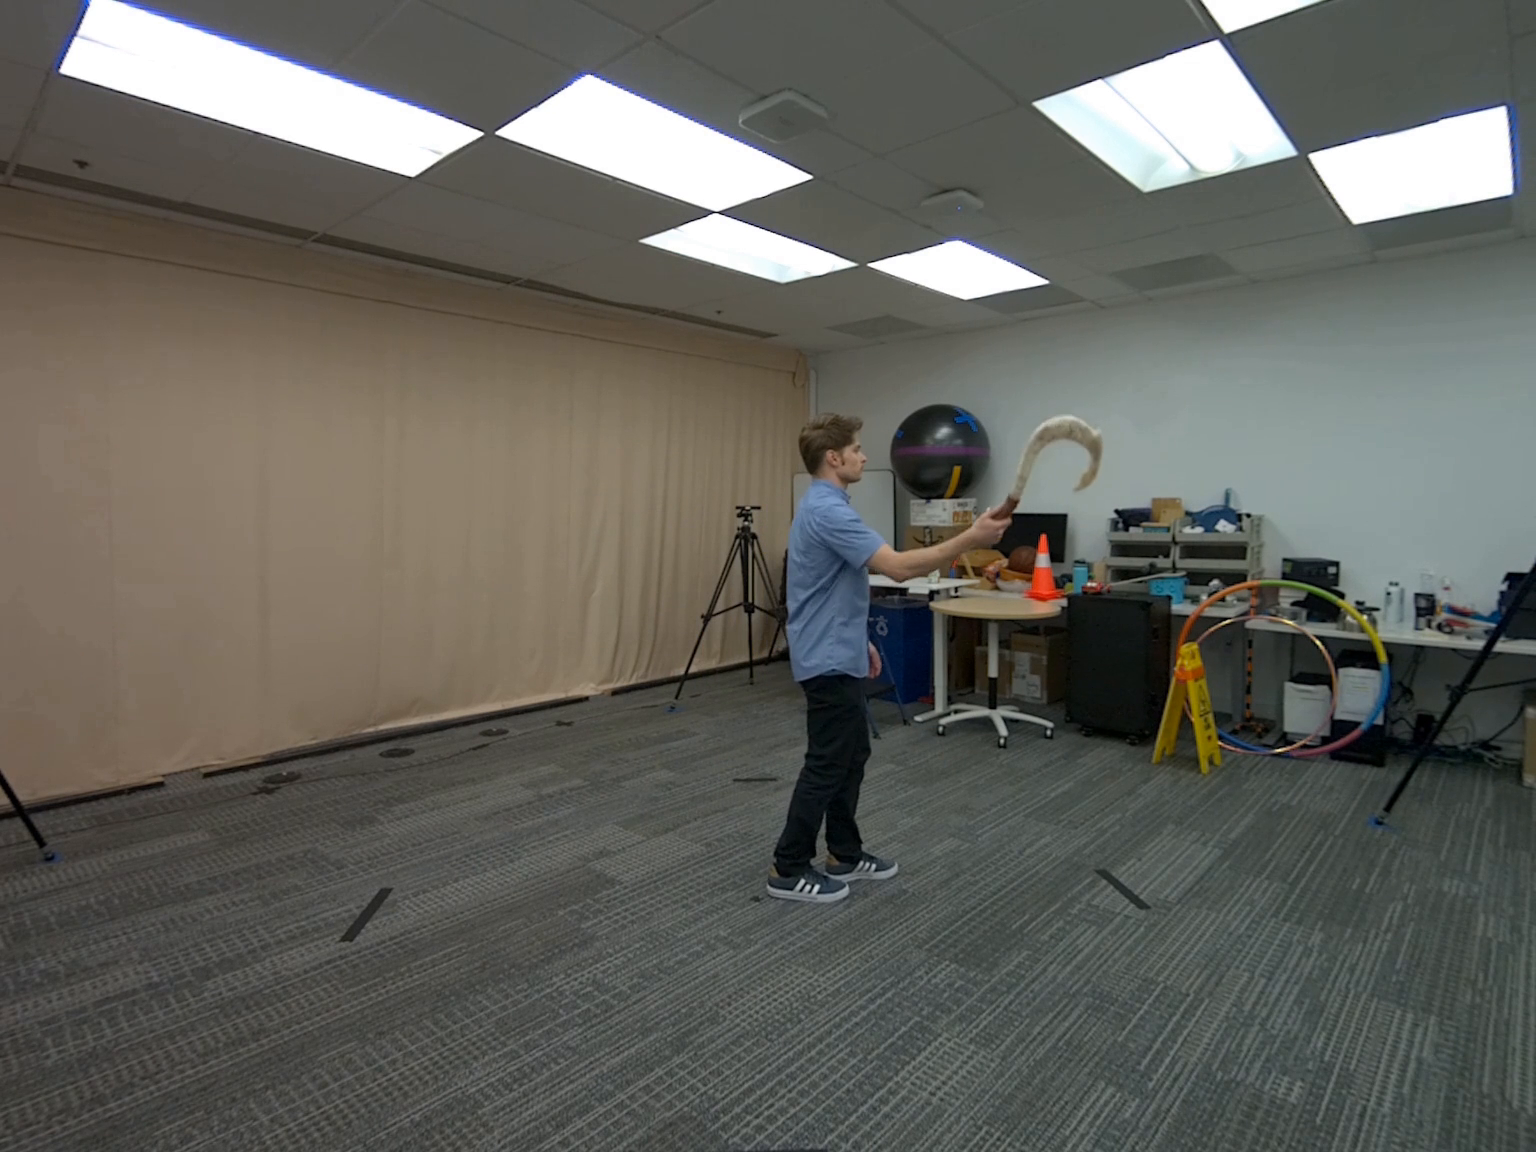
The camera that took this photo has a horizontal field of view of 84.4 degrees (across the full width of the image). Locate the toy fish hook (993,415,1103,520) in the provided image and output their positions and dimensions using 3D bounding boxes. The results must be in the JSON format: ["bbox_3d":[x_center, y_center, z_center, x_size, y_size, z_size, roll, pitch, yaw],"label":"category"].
[{"bbox_3d":[0.845,-0.240,2.621,0.229,0.506,0.047,38,34,14],"label":"toy fish hook"}]
